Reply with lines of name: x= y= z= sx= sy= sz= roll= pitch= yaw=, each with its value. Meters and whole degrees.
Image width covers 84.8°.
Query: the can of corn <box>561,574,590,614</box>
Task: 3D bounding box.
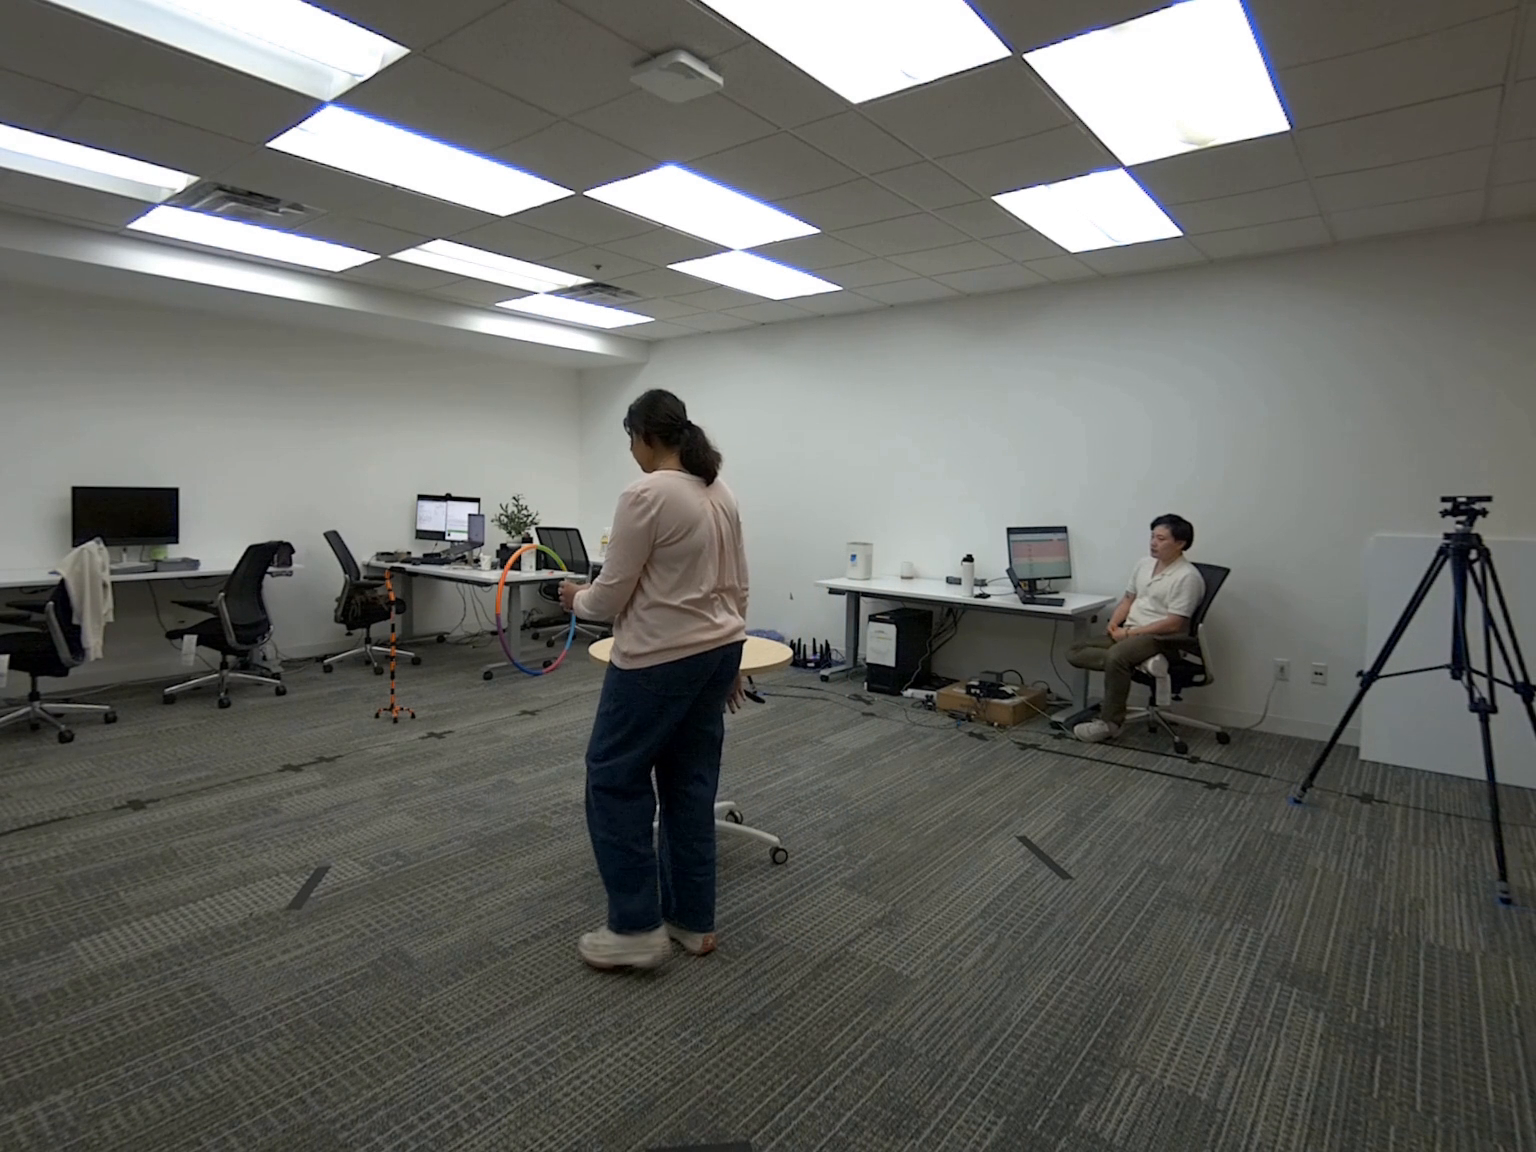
can of corn: x=-0.624 y=0.055 z=2.719 sx=0.074 sy=0.110 sz=0.075 roll=3 pitch=7 yaw=-2
